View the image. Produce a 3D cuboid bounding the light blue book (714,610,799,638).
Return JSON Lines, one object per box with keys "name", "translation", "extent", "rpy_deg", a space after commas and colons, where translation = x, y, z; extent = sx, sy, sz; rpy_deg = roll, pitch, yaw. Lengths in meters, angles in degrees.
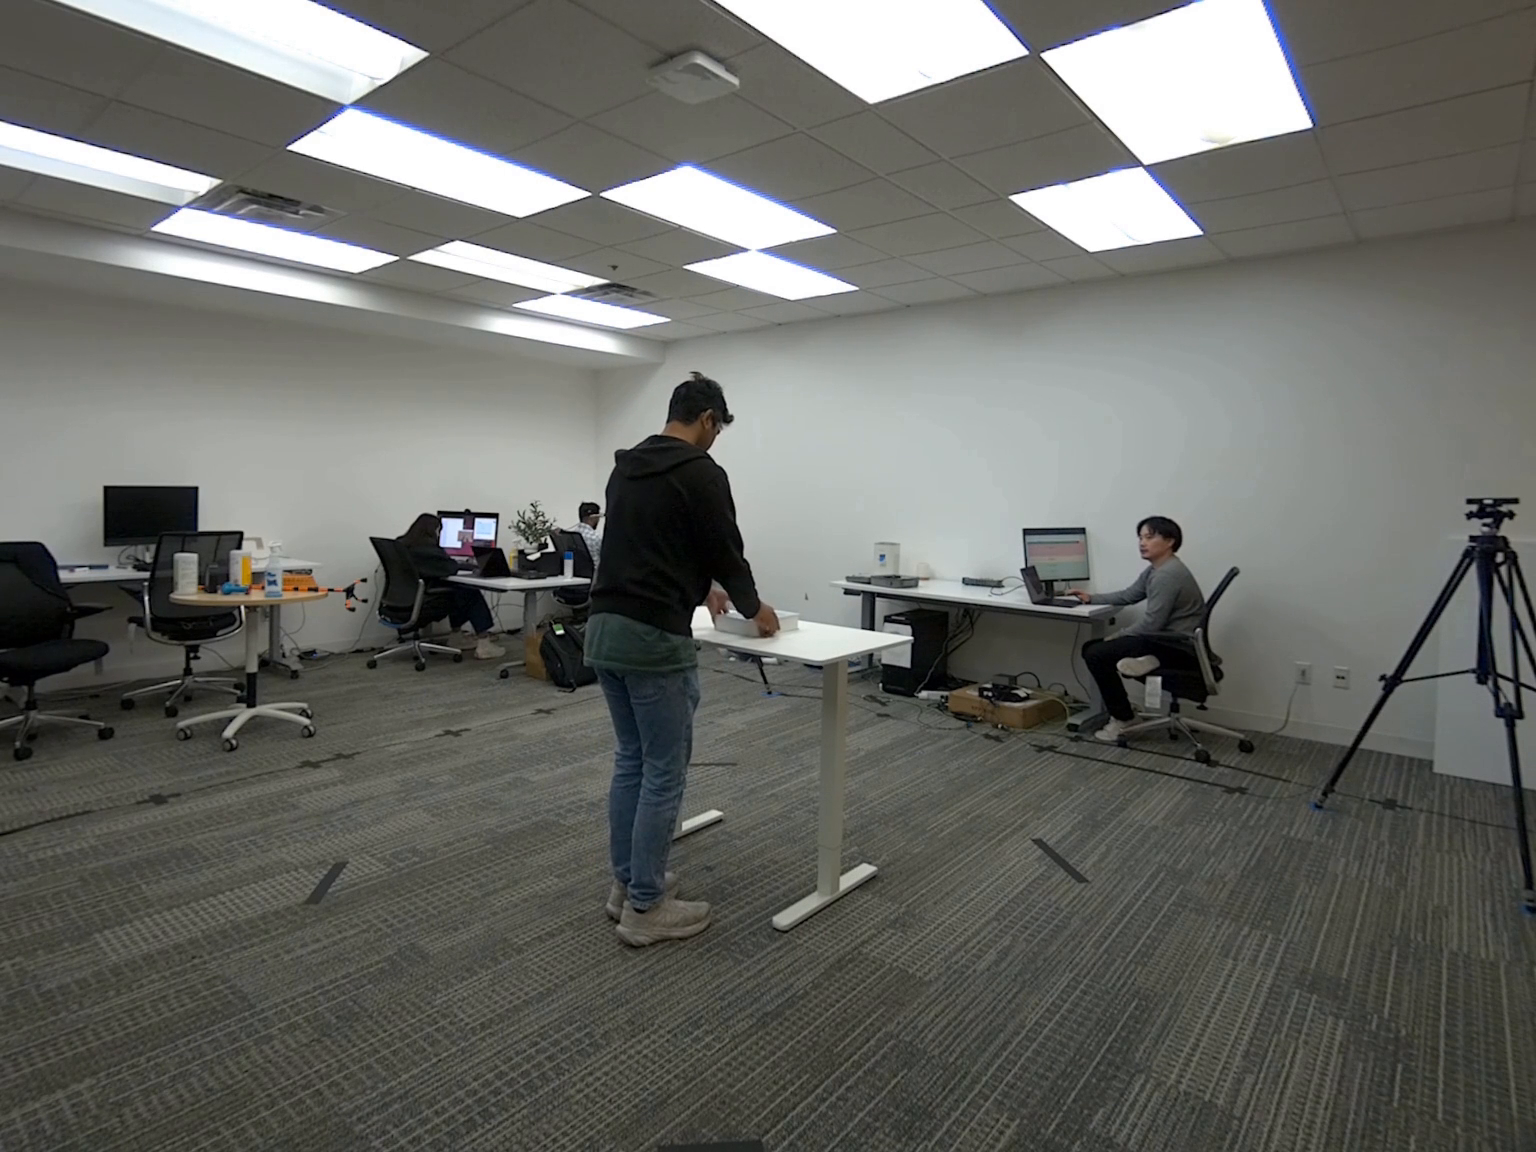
{"name": "light blue book", "translation": [-0.038, 0.165, 3.068], "extent": [0.198, 0.059, 0.253], "rpy_deg": [7, 8, 39]}
